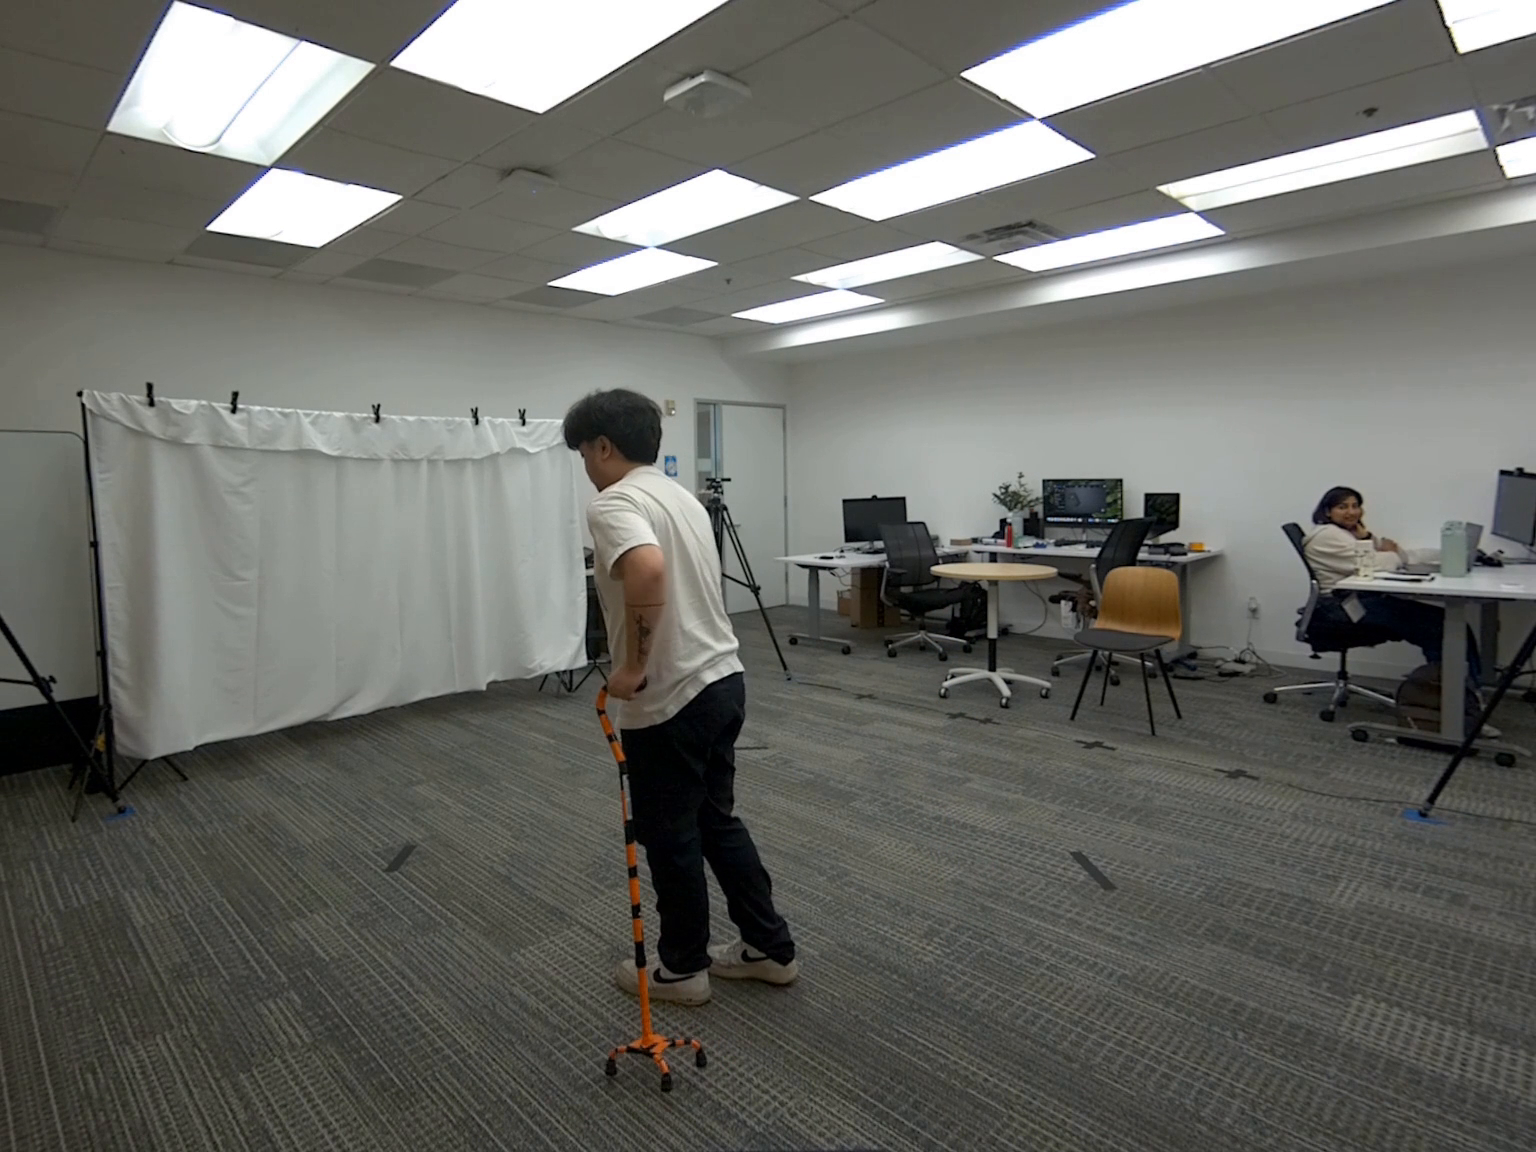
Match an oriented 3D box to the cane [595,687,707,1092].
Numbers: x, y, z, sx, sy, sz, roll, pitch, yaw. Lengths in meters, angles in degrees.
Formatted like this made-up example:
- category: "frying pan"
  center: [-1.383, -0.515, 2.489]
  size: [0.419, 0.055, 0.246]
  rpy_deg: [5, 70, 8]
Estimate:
- category: "cane"
  center: [-0.313, 0.721, 2.047]
  size: [0.211, 0.914, 0.147]
  rpy_deg: [-11, -8, 33]
